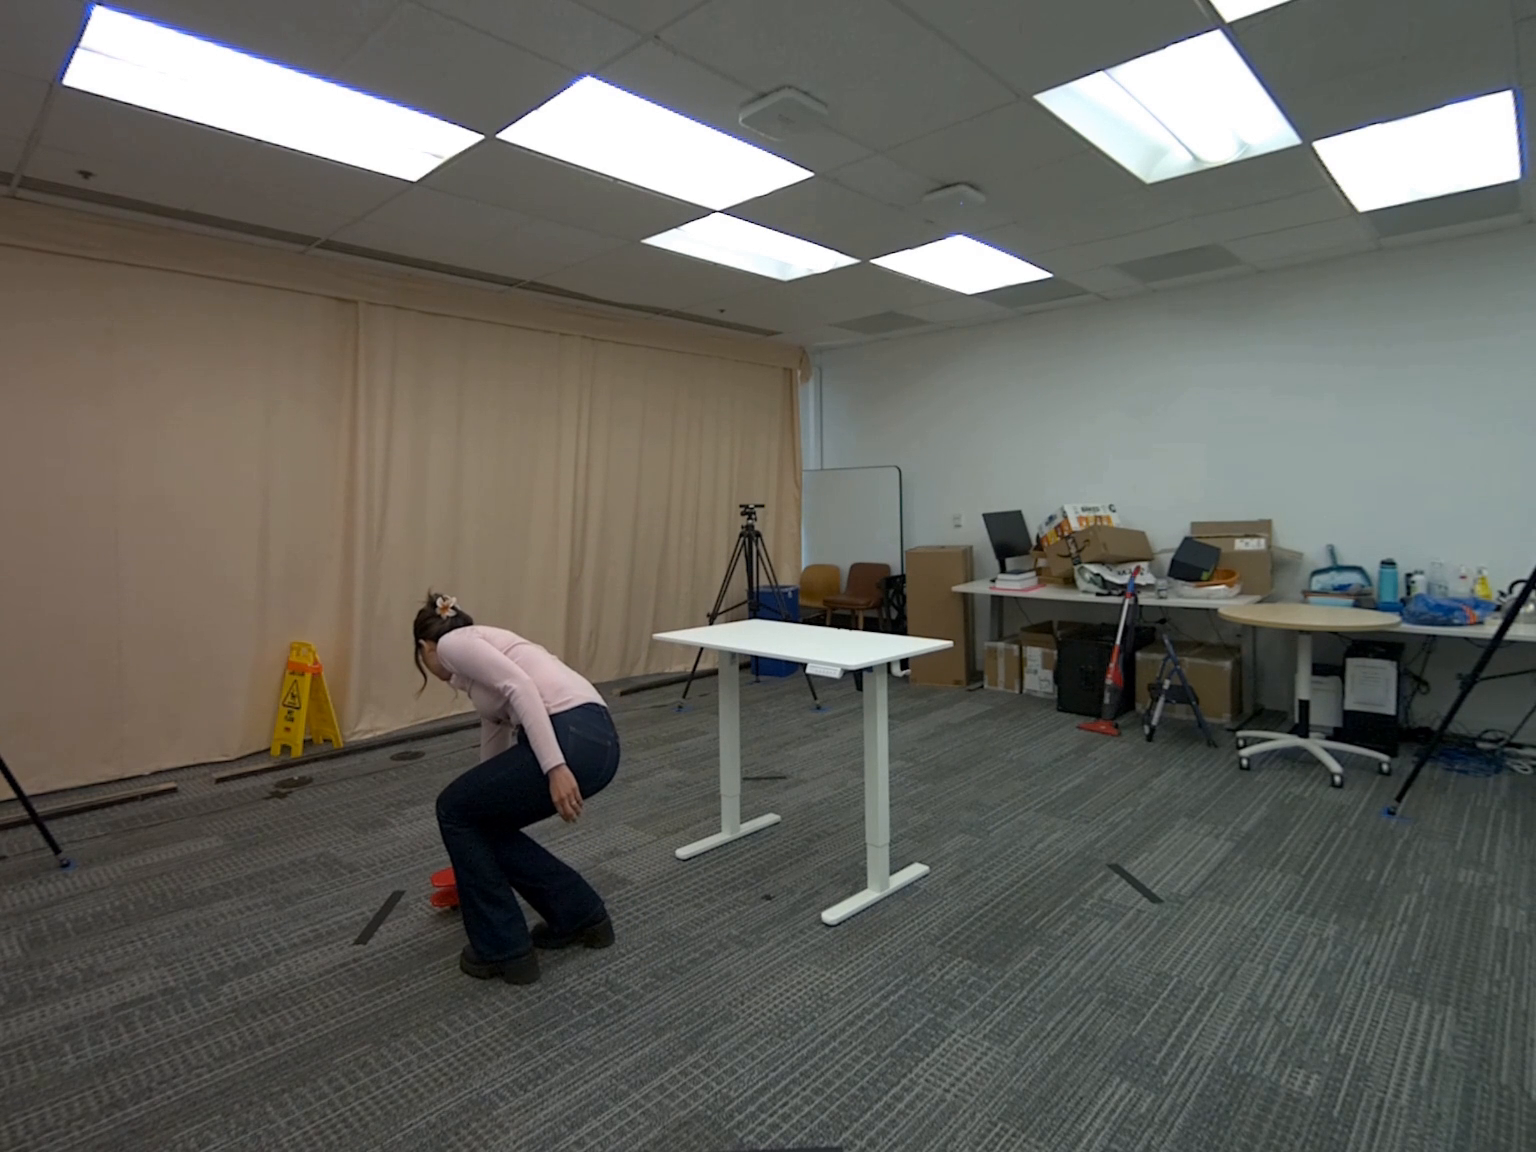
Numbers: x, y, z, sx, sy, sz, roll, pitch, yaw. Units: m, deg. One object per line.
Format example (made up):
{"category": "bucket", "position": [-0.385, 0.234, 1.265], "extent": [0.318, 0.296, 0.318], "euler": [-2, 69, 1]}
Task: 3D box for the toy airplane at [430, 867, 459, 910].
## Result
{"category": "toy airplane", "position": [-1.013, 1.096, 2.918], "extent": [0.266, 0.156, 0.245], "euler": [-1, 3, 28]}
